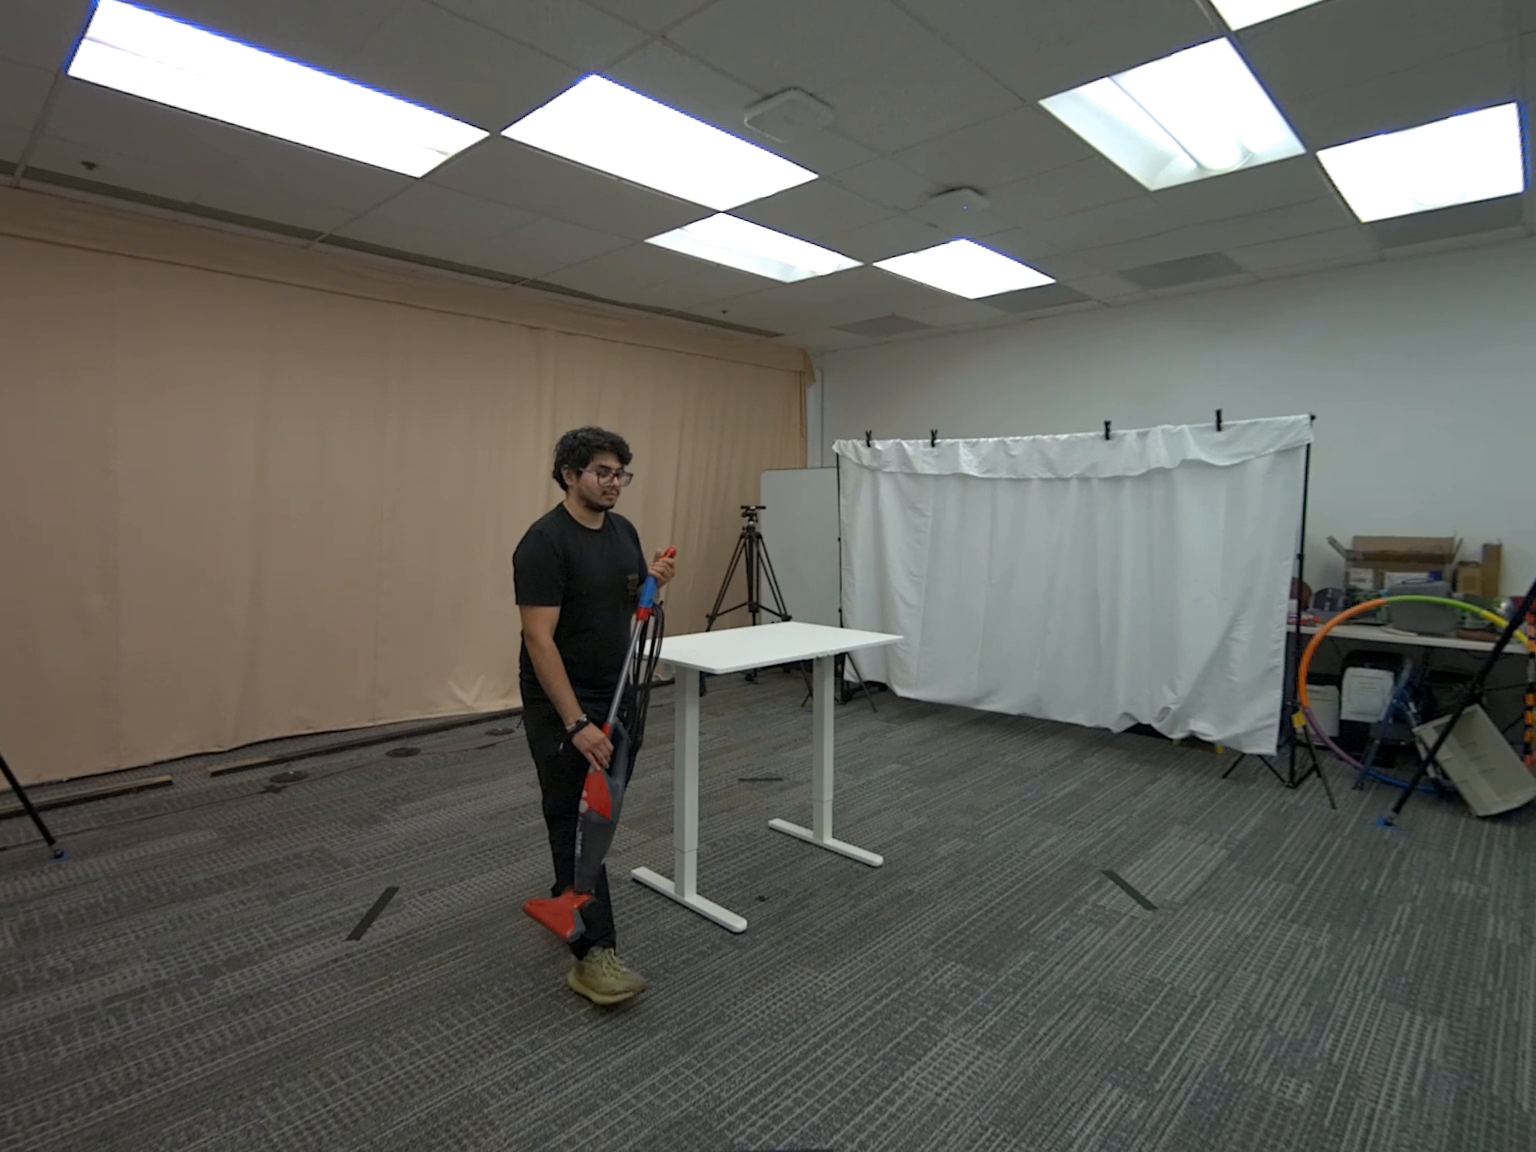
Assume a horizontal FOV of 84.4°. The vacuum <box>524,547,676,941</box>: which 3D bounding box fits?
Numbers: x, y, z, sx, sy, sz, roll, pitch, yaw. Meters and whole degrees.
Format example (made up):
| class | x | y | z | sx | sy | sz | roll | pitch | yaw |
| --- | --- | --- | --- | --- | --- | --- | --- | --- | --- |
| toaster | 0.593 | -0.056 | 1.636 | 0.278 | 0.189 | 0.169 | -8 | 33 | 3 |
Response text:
| class | x | y | z | sx | sy | sz | roll | pitch | yaw |
| --- | --- | --- | --- | --- | --- | --- | --- | --- | --- |
| vacuum | -0.410 | 0.414 | 2.388 | 0.261 | 1.054 | 0.139 | 2 | -17 | 40 |
